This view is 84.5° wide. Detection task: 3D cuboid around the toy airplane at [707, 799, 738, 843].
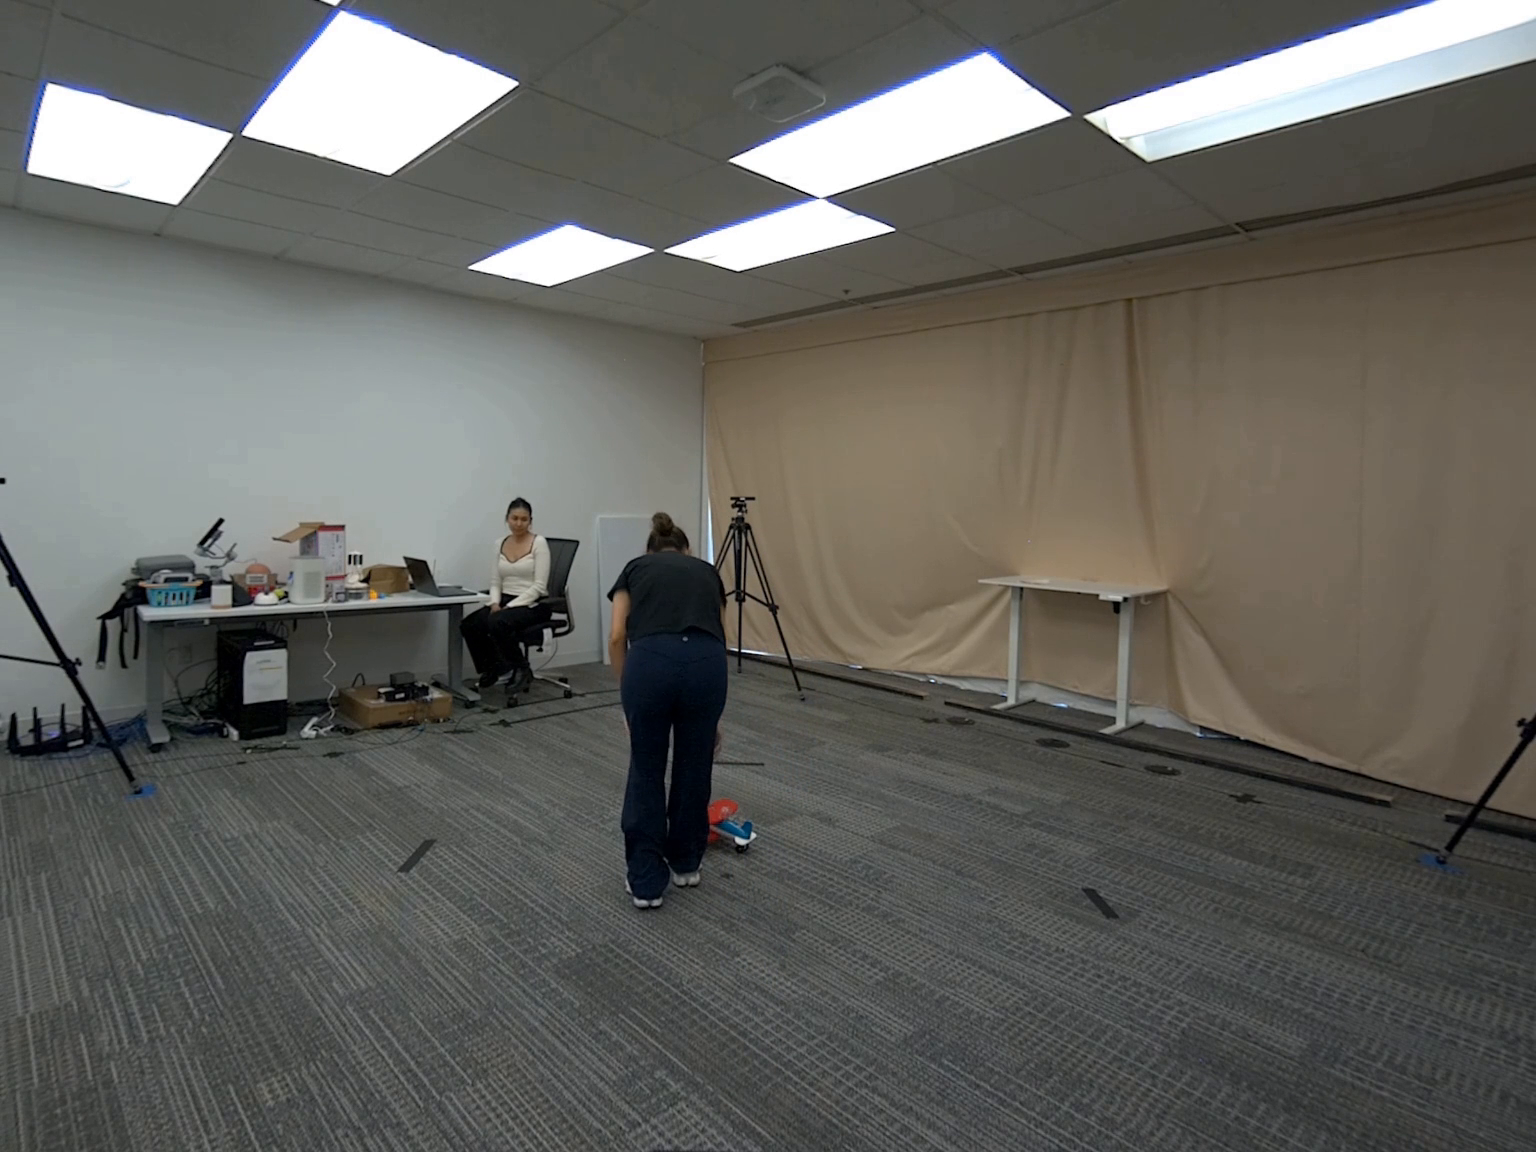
[{"bbox_3d":[-0.178,1.011,3.369,0.259,0.156,0.251,1,4,1],"label":"toy airplane"}]
